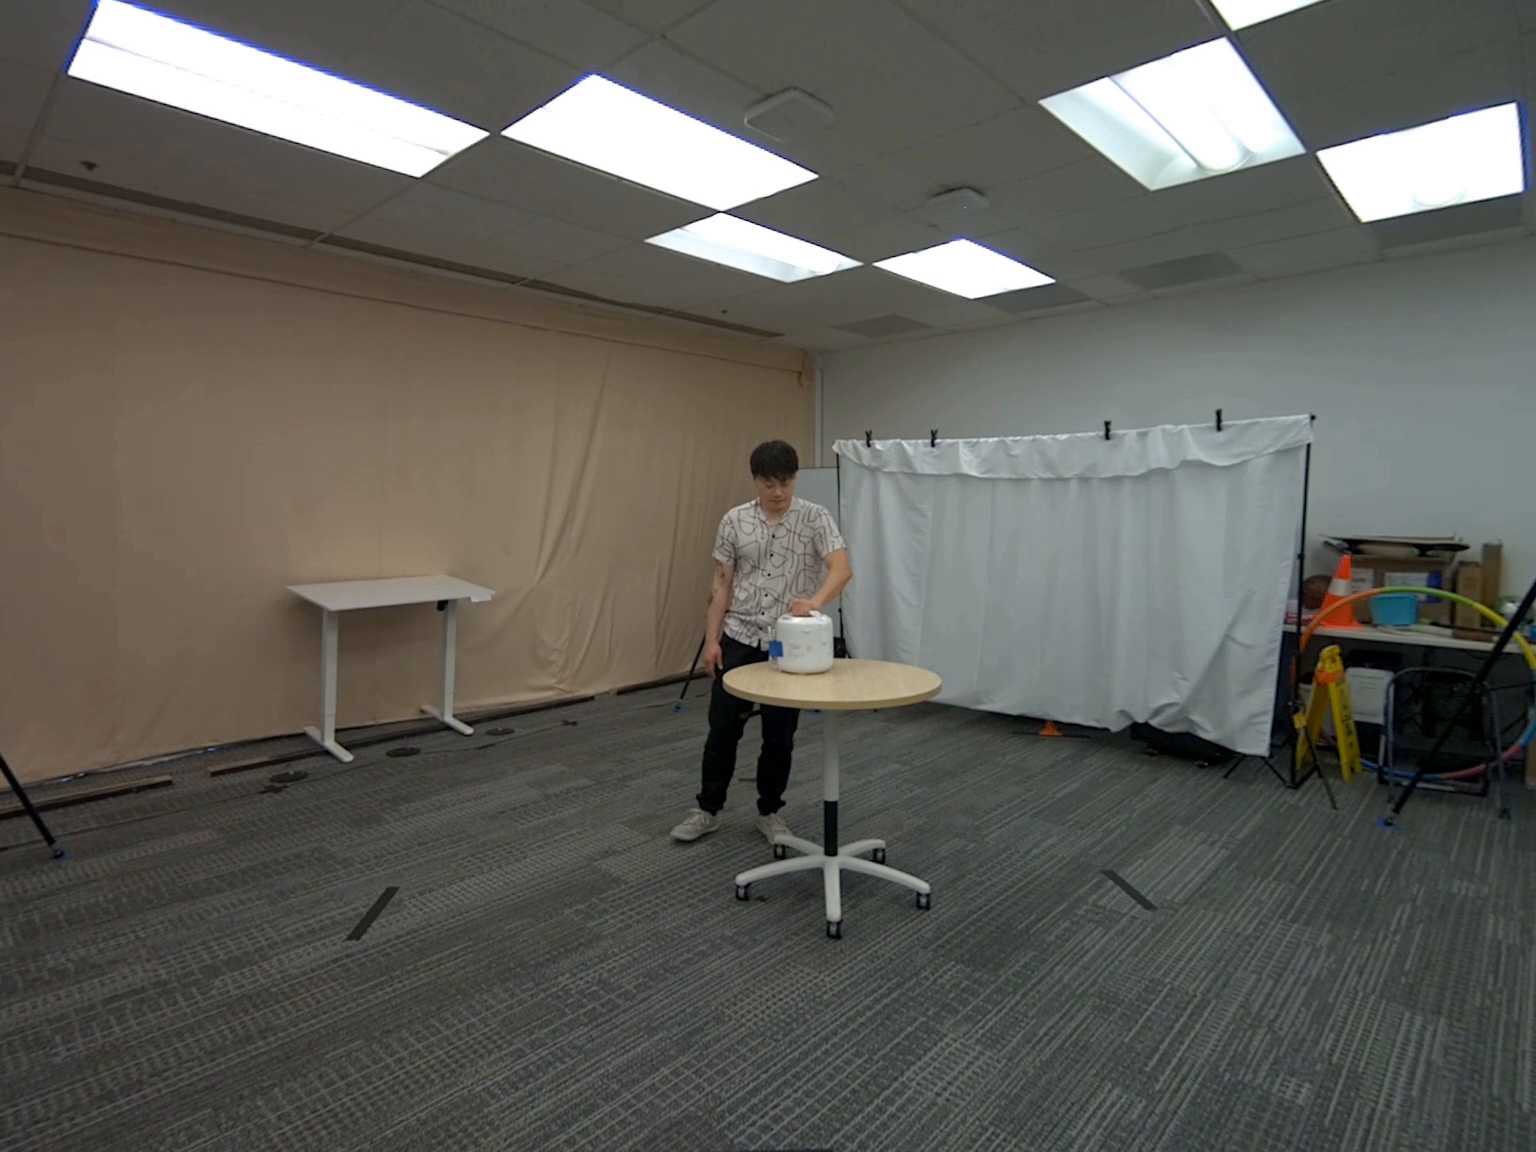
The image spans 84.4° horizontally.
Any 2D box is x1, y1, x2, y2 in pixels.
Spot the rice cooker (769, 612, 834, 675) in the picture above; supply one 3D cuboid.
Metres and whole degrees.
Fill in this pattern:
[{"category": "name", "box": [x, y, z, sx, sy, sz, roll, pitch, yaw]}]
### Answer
[{"category": "rice cooker", "box": [0.133, 0.234, 3.120, 0.211, 0.232, 0.228, -3, 5, -40]}]
